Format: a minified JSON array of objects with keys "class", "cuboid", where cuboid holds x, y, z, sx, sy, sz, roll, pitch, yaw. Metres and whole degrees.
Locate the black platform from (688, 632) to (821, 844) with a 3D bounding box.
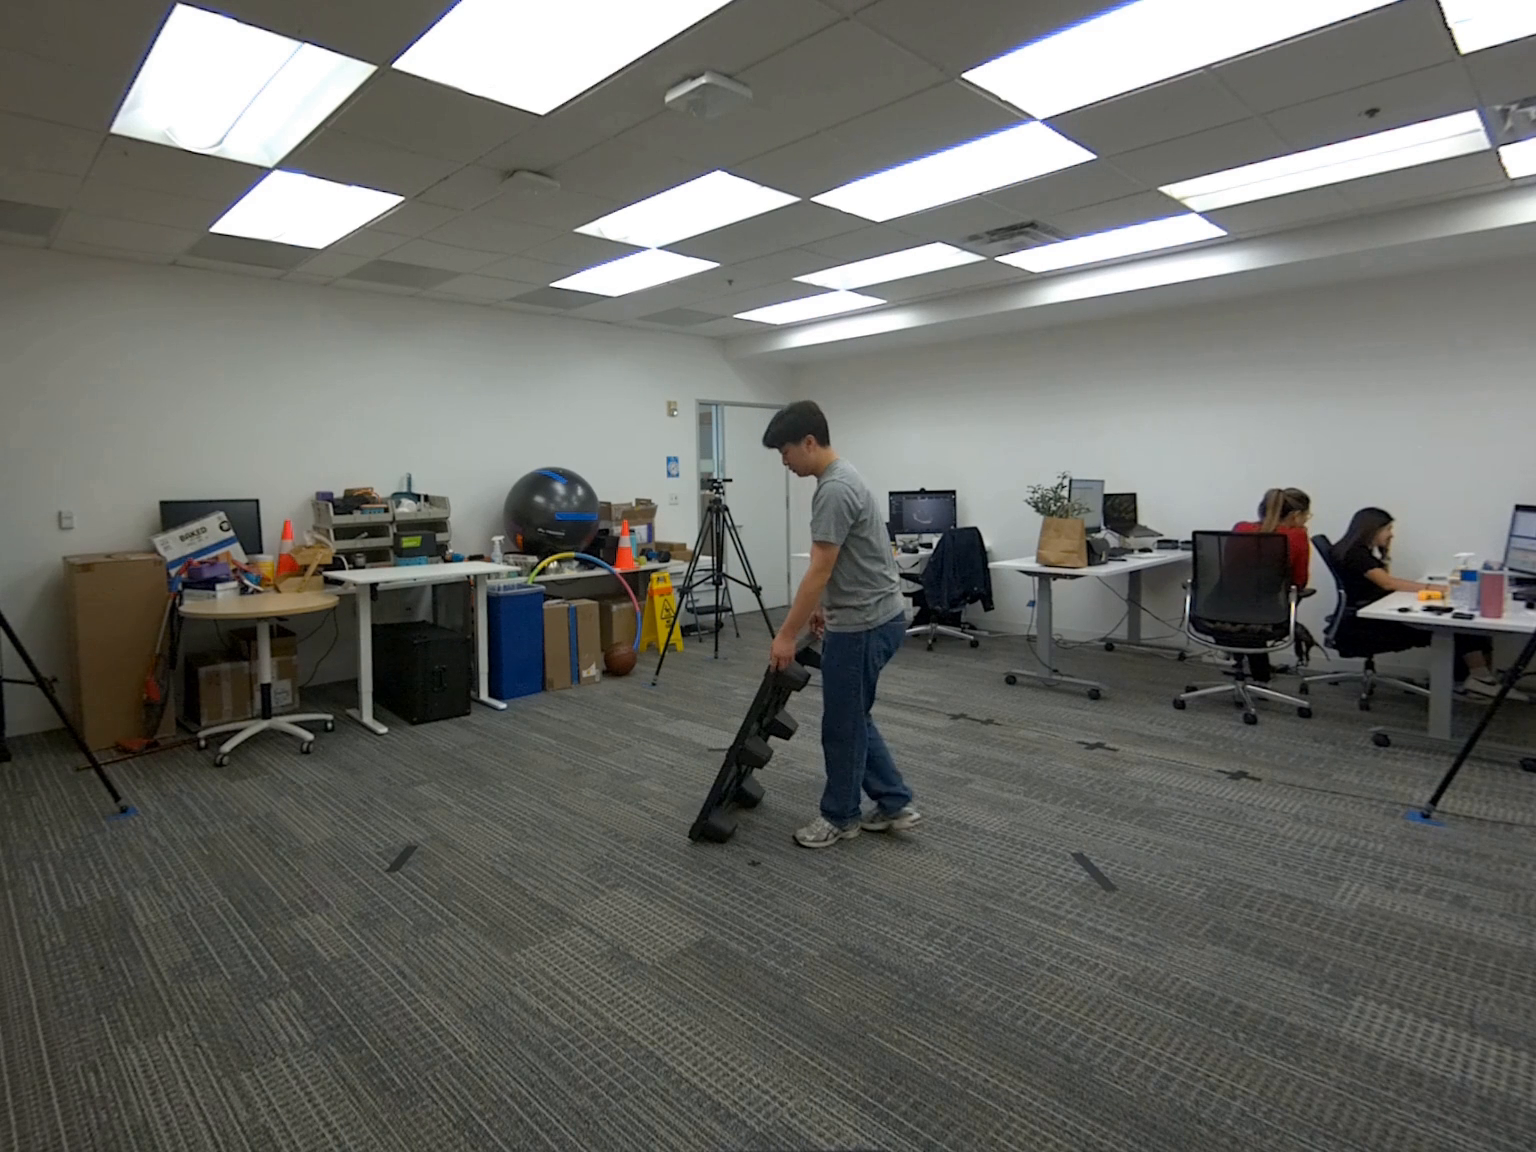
[{"class":"black platform","cuboid":[-0.005,0.654,3.436,0.146,0.801,0.597,27,12,12]}]
